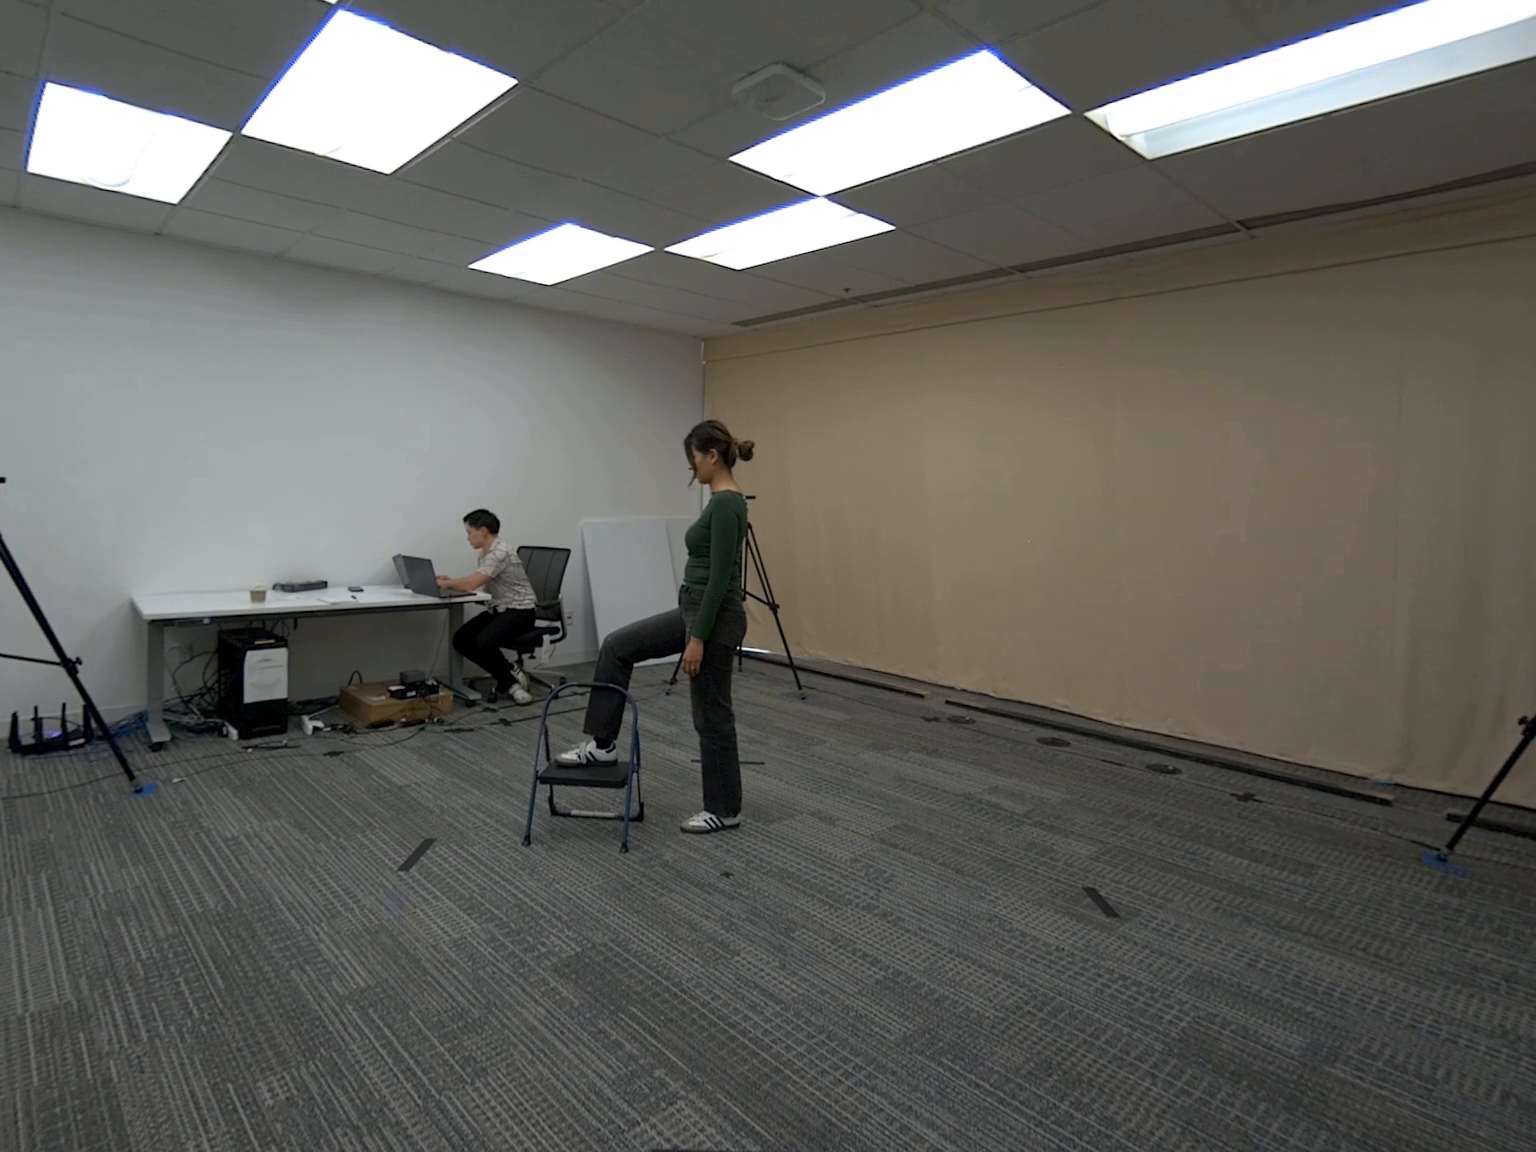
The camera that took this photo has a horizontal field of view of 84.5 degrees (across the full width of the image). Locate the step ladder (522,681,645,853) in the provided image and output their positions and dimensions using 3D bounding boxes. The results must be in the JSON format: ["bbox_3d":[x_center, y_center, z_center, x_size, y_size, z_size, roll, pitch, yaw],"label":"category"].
[{"bbox_3d":[-0.748,0.761,3.446,0.433,0.604,0.349,2,5,5],"label":"step ladder"}]
